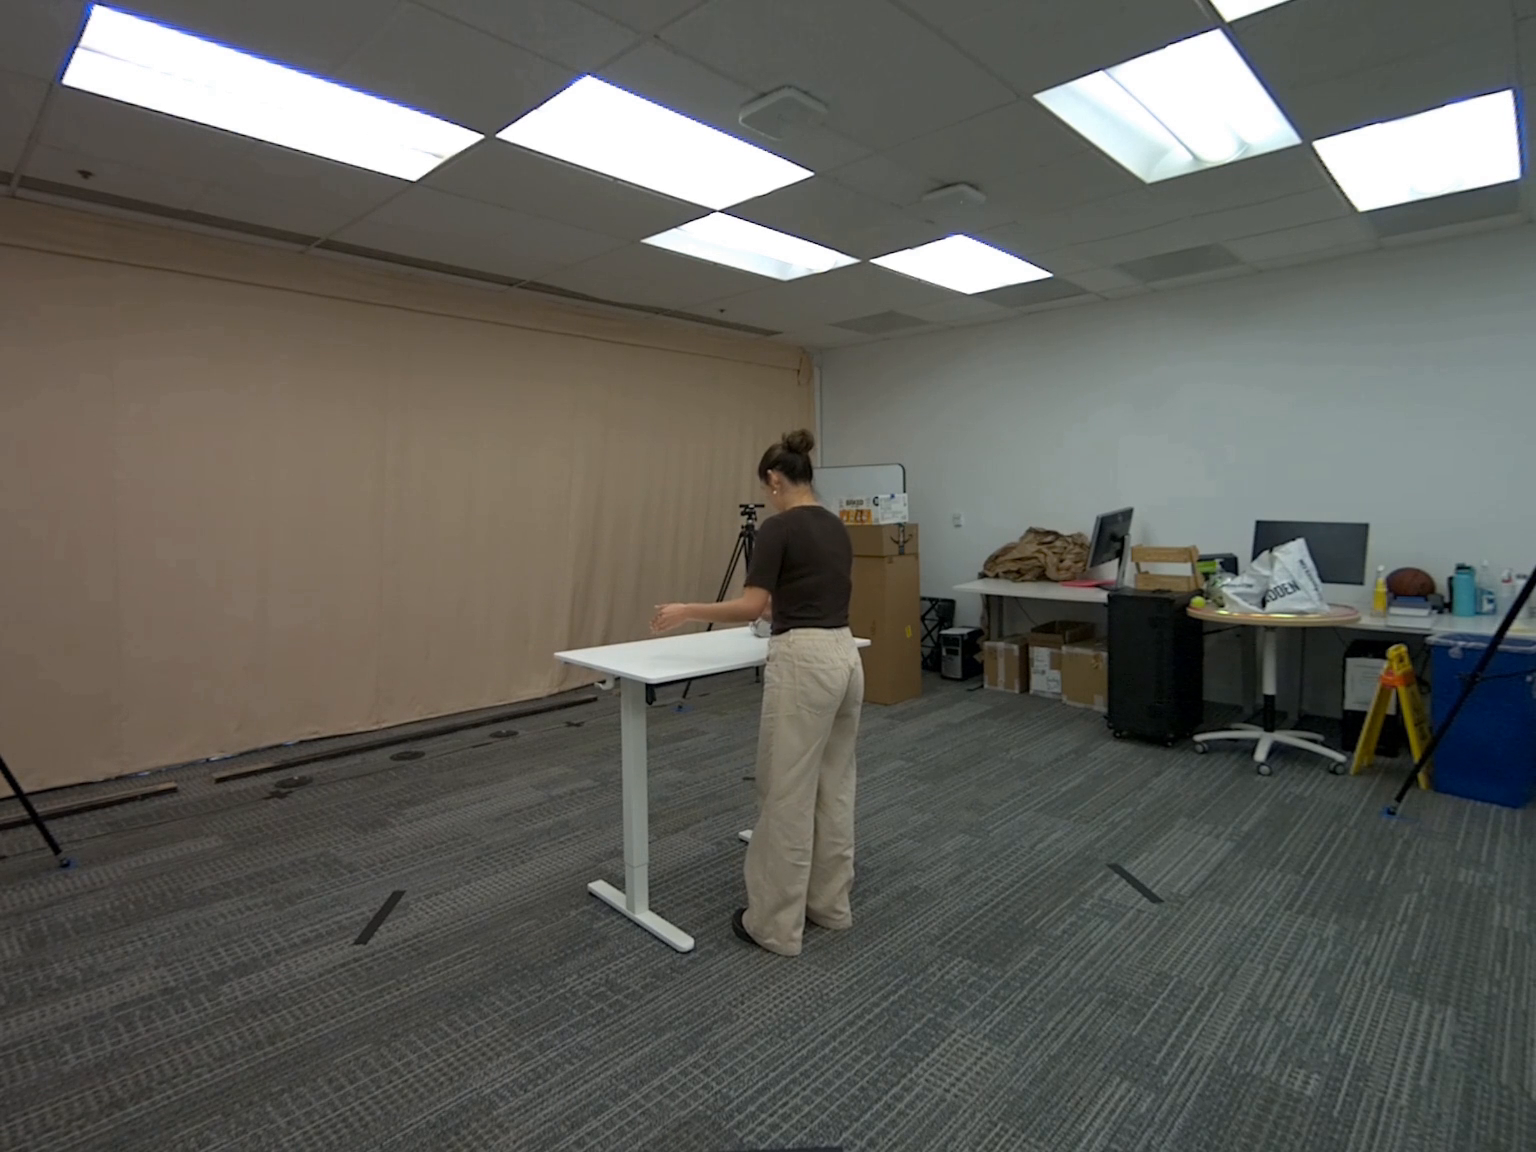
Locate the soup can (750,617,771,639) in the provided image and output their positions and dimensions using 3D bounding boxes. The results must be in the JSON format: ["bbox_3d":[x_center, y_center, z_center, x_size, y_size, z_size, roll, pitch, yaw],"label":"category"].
[{"bbox_3d":[-0.020,0.196,3.281,0.066,0.067,0.123,-1,1,-11],"label":"soup can"}]
